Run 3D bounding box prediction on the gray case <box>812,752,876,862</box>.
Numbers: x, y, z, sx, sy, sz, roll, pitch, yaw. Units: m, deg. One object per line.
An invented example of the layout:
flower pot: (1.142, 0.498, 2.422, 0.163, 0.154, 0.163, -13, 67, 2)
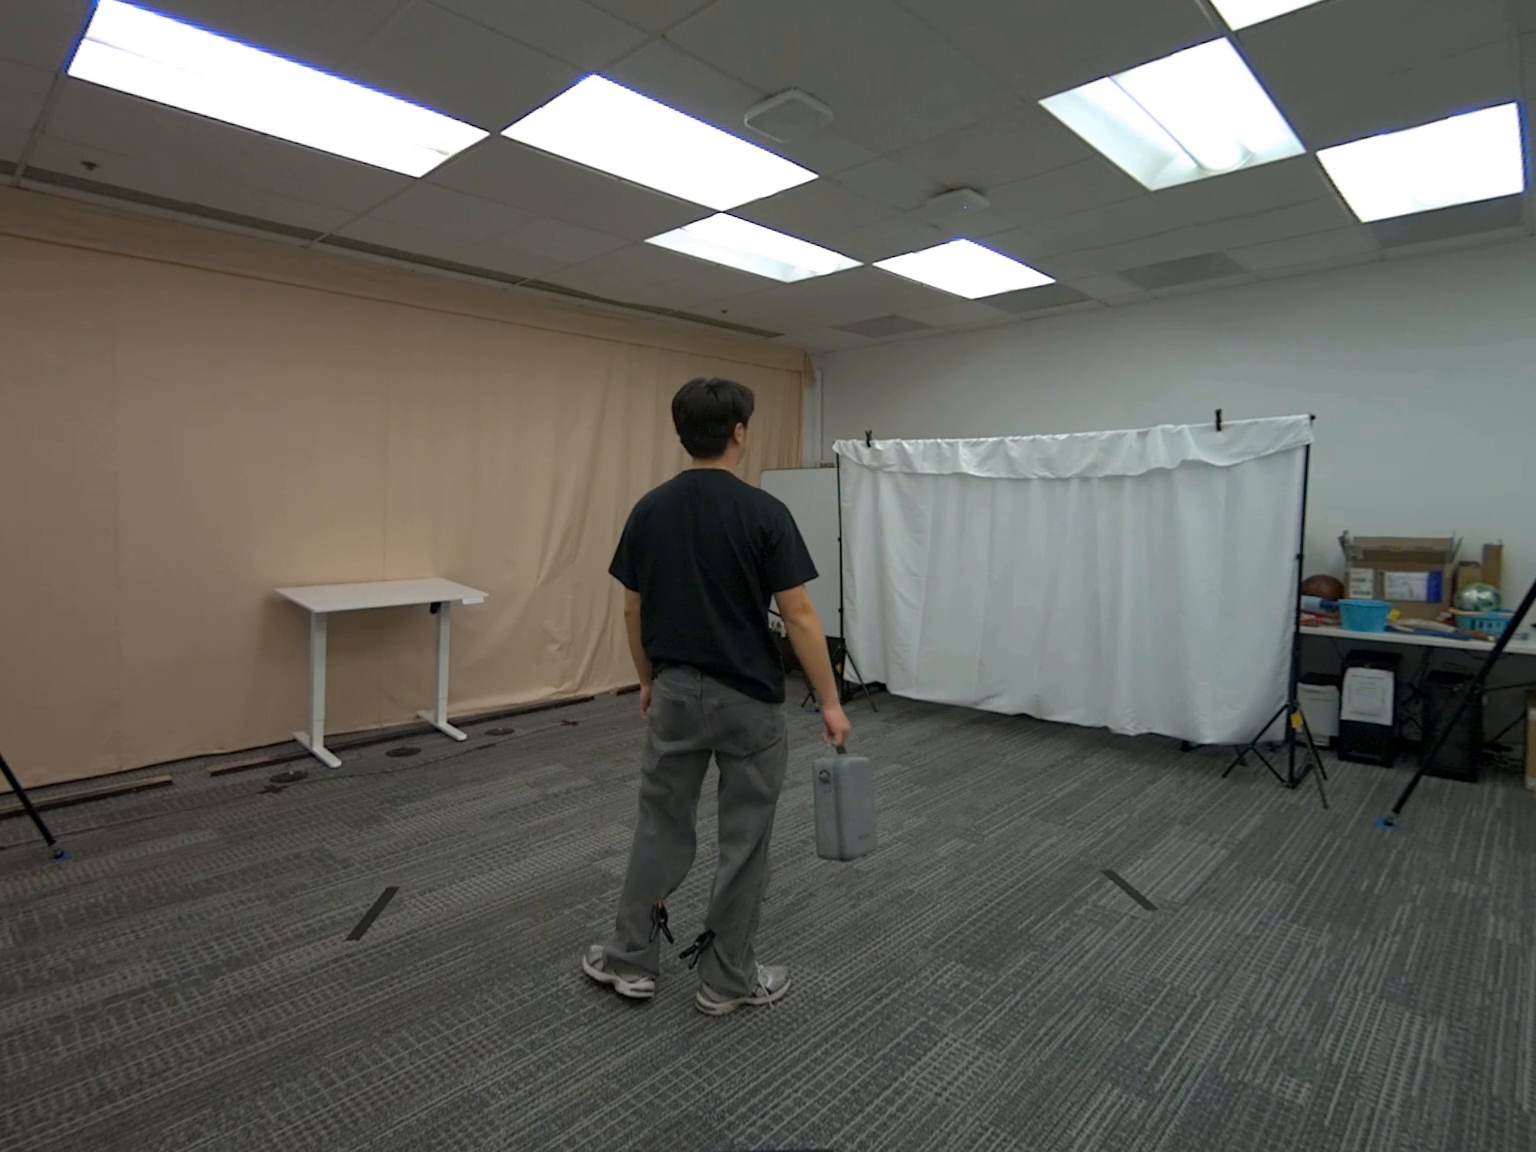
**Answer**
gray case: (0.191, 0.588, 2.214, 0.105, 0.290, 0.256, -7, -14, 19)
